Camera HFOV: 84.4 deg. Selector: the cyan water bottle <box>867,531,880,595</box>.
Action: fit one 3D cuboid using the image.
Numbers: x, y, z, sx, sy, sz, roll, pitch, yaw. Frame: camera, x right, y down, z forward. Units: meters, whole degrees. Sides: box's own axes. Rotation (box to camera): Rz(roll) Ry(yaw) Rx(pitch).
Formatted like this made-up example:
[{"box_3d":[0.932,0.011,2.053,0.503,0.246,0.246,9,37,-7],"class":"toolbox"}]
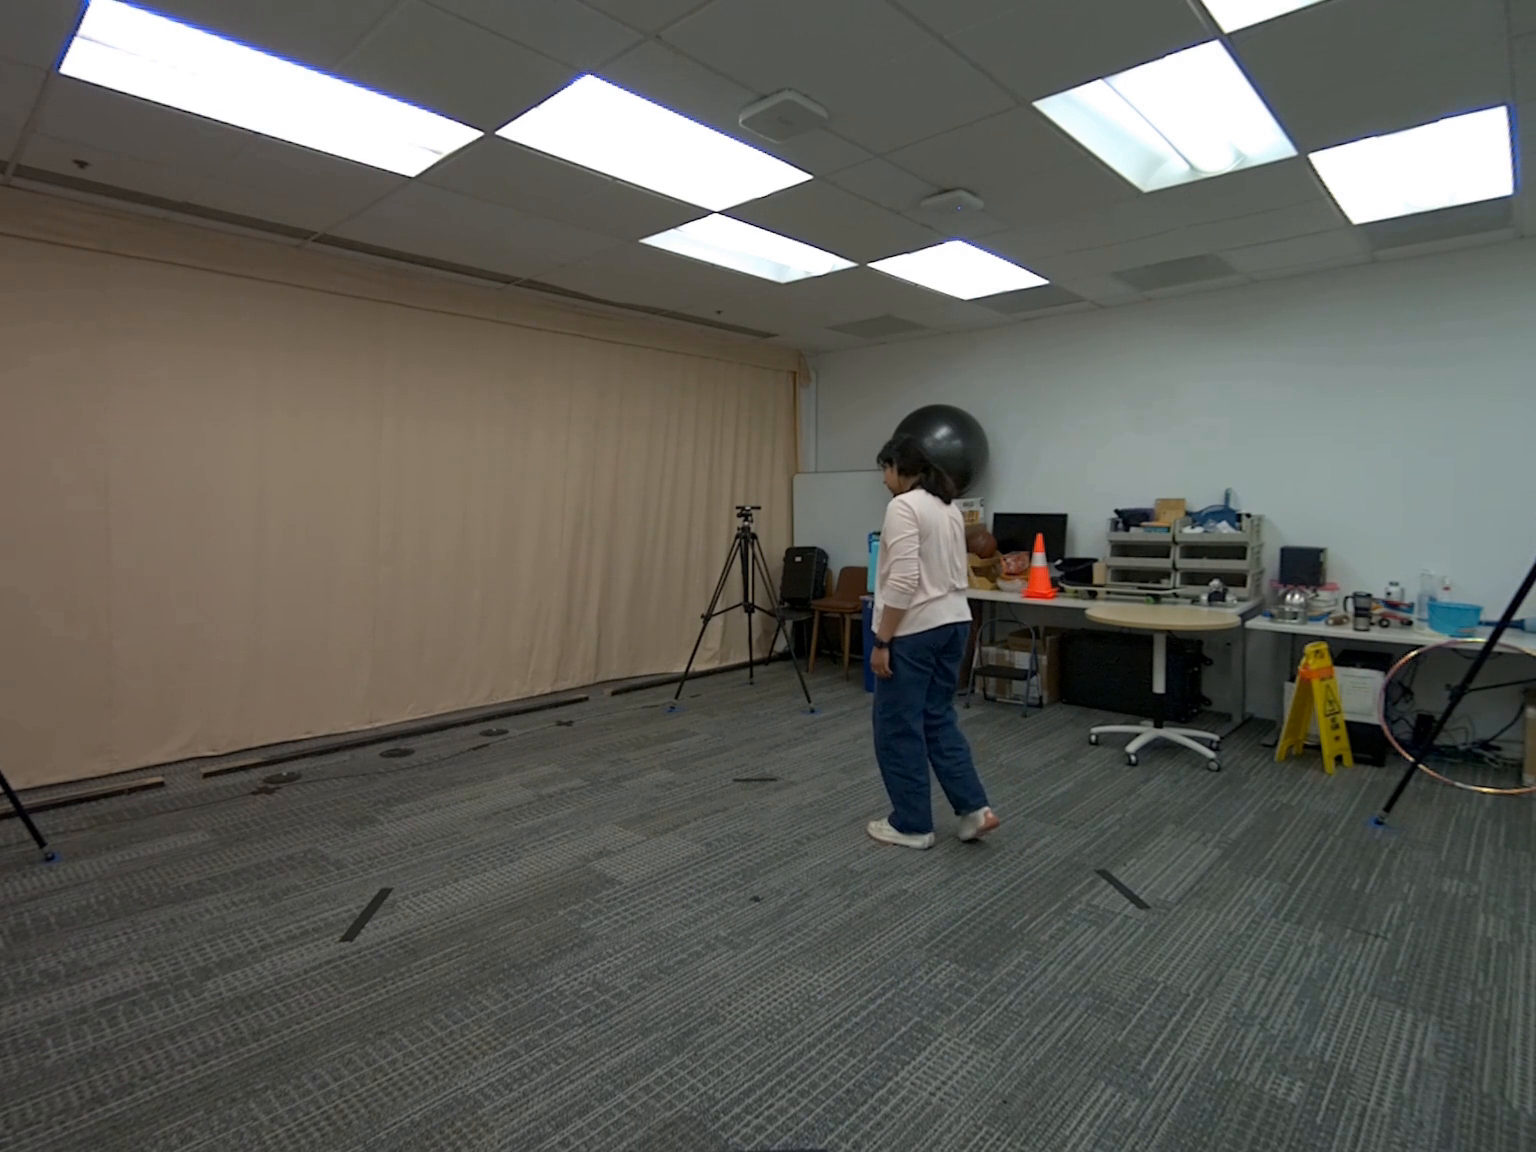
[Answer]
[{"box_3d":[0.501,-0.069,3.782,0.092,0.283,0.092,1,3,-2],"class":"cyan water bottle"}]
